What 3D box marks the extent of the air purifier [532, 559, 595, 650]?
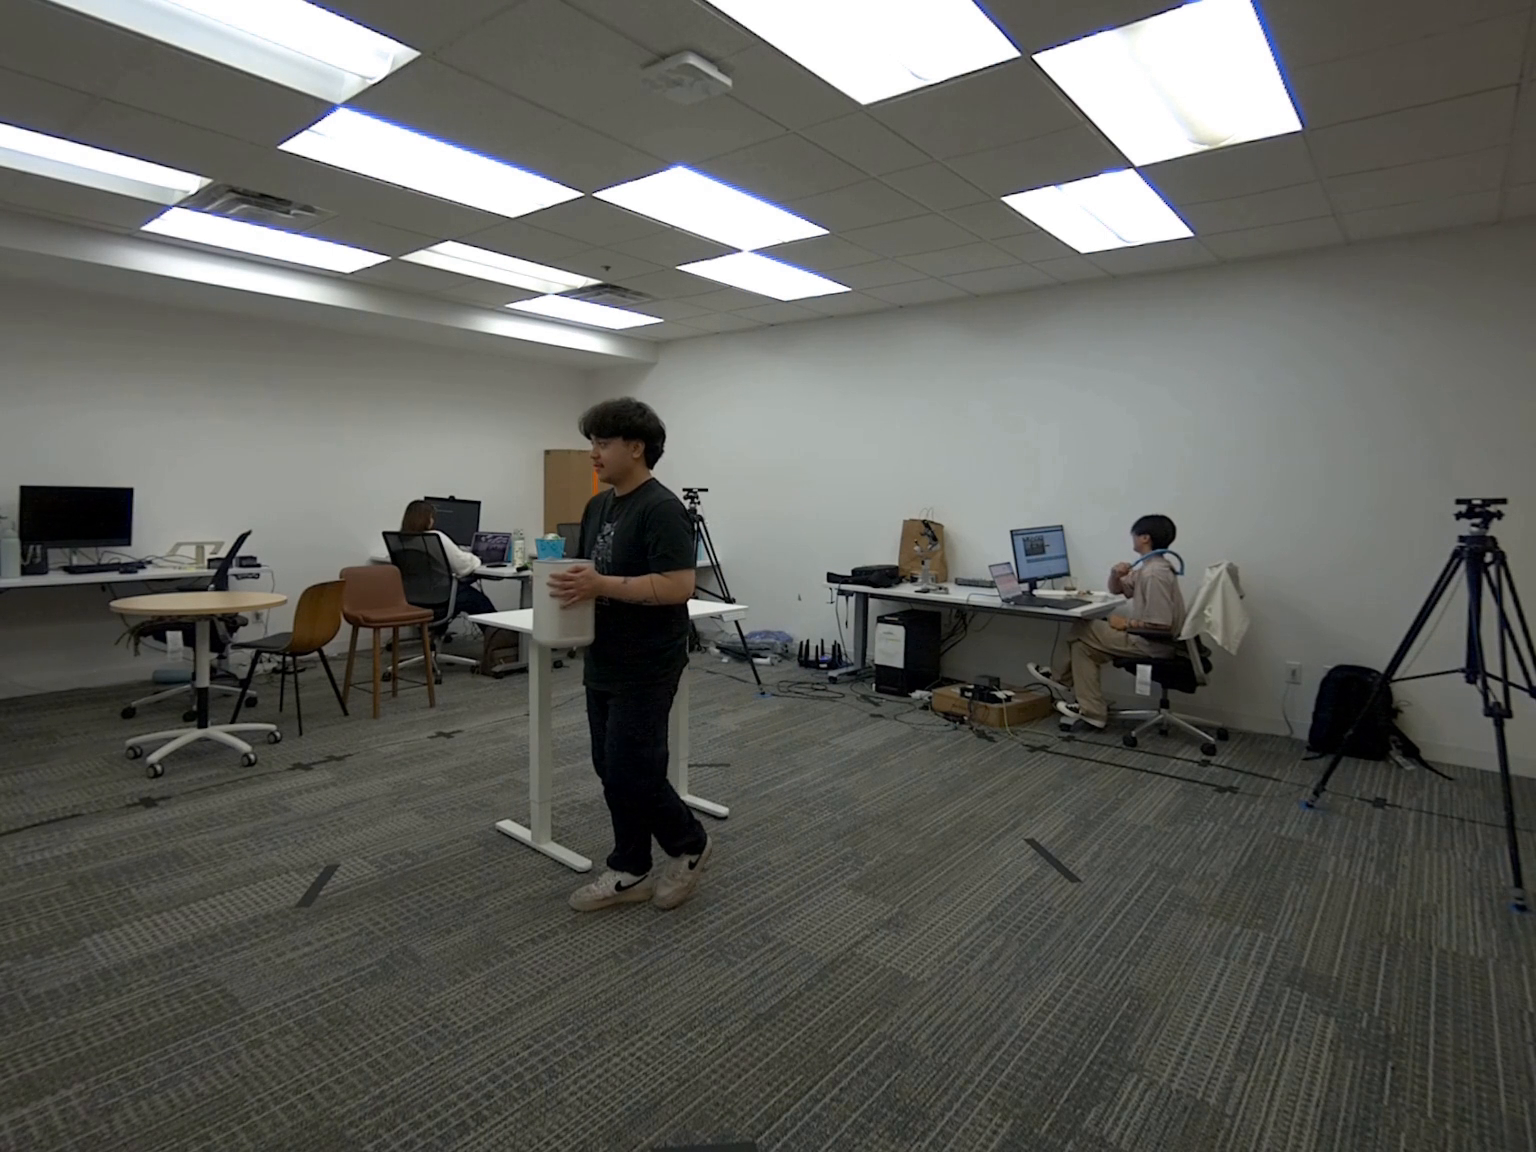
[{"bbox_3d":[-0.650,0.080,2.664,0.167,0.265,0.176,-1,1,-33],"label":"air purifier"}]
